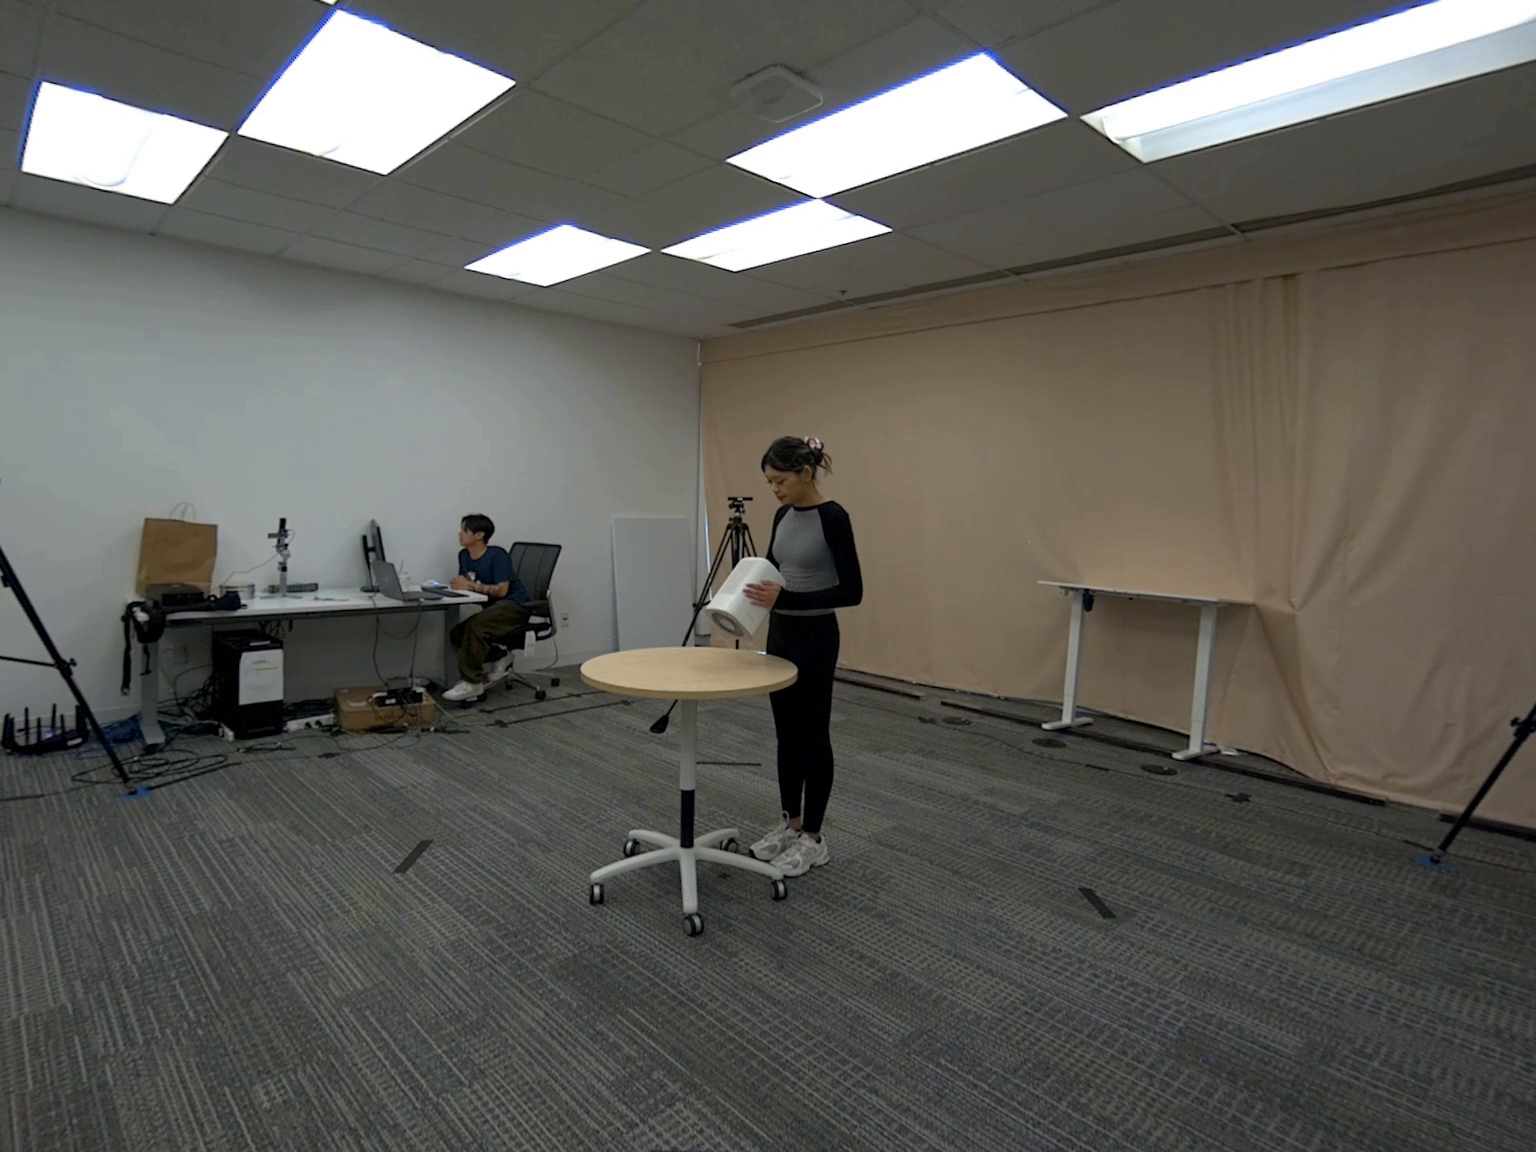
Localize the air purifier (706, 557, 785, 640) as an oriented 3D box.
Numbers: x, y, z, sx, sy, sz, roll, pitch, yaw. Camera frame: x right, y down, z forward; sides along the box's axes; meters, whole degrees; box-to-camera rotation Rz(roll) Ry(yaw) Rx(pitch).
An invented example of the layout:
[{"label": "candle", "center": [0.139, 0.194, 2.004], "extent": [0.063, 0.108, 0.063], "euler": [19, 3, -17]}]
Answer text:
[{"label": "air purifier", "center": [-0.080, 0.076, 3.046], "extent": [0.175, 0.266, 0.166], "euler": [1, -42, 51]}]
